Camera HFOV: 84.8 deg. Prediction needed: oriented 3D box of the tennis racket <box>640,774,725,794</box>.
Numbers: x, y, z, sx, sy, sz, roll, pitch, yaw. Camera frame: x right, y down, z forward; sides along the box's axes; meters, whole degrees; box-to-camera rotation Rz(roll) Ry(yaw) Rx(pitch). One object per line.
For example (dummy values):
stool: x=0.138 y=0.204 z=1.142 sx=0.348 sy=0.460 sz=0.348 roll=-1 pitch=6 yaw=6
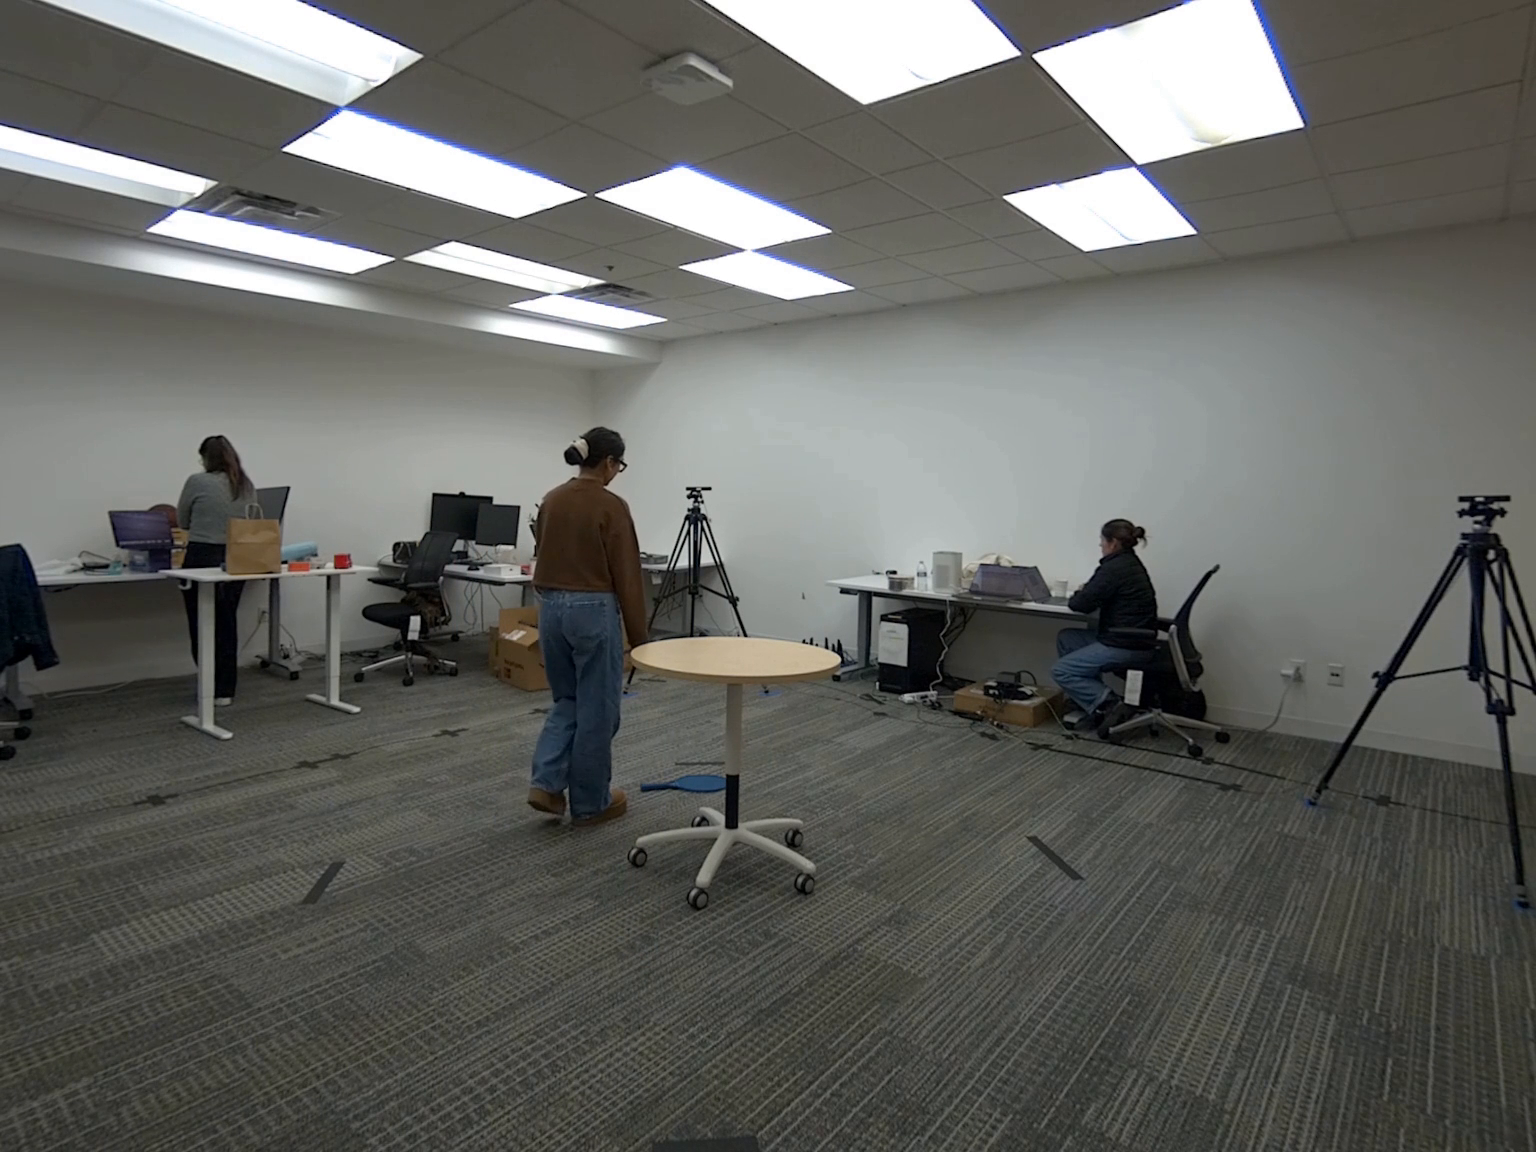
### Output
tennis racket: x=-0.398 y=0.968 z=3.972 sx=0.425 sy=0.031 sz=0.218 roll=0 pitch=5 yaw=-18
